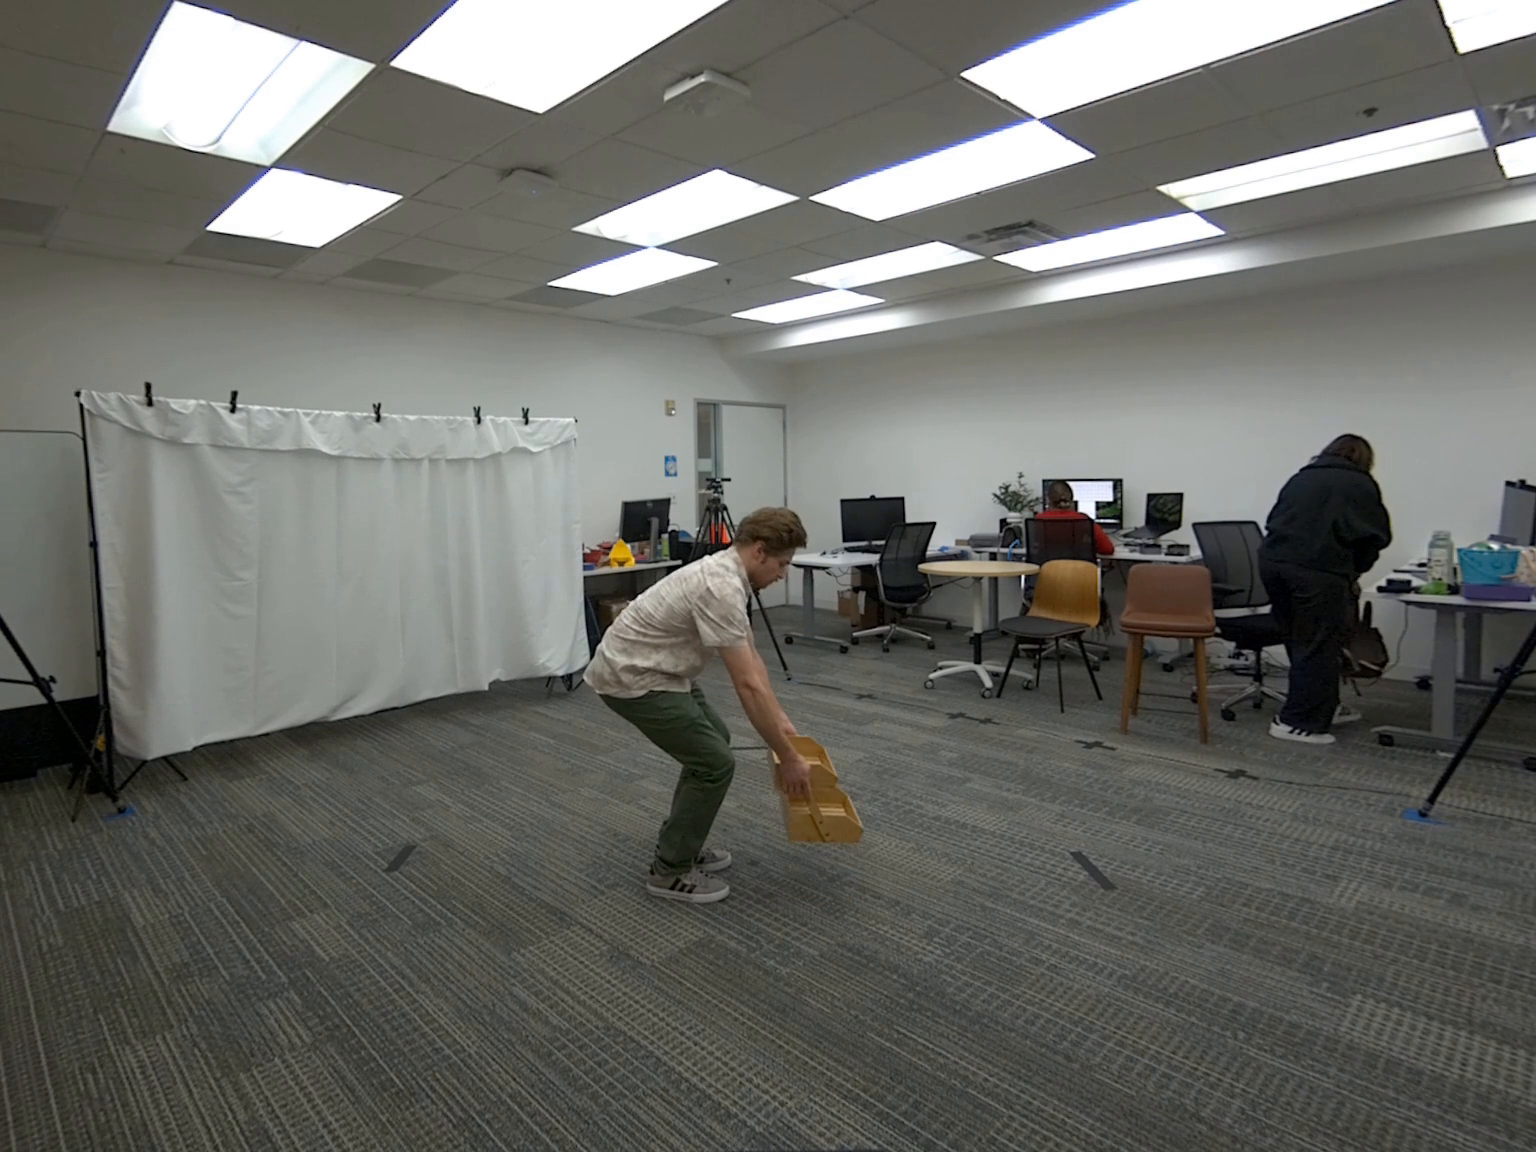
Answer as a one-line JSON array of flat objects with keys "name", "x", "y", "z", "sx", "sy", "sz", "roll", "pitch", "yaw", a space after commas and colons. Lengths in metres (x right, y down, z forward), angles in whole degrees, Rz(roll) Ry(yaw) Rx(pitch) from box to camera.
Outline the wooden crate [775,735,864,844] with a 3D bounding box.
[{"name": "wooden crate", "x": 0.160, "y": 0.714, "z": 2.931, "sx": 0.301, "sy": 0.272, "sz": 0.326, "roll": 1, "pitch": 4, "yaw": -3}]
